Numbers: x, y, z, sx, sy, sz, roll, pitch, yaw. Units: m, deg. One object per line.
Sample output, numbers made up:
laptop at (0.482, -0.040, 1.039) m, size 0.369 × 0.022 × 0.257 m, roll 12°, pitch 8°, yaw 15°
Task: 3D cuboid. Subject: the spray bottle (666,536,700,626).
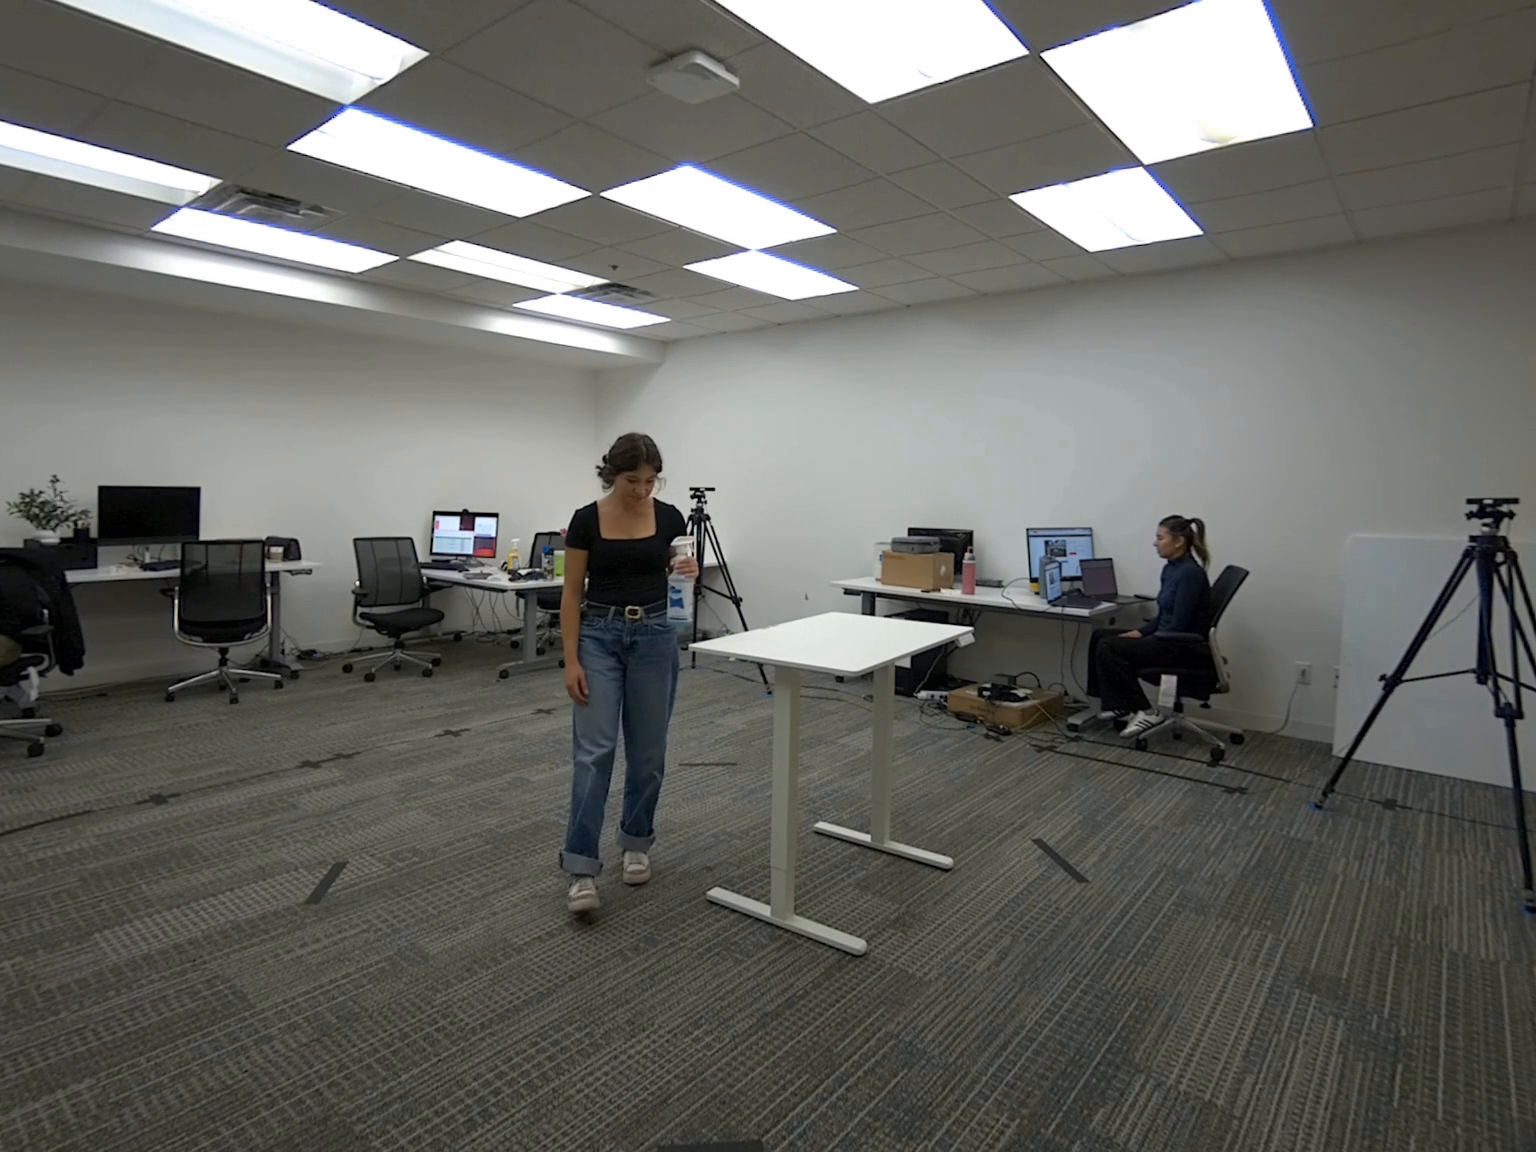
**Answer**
spray bottle at (-0.304, 0.015, 2.845) m, size 0.089 × 0.297 × 0.088 m, roll 2°, pitch 0°, yaw -9°
